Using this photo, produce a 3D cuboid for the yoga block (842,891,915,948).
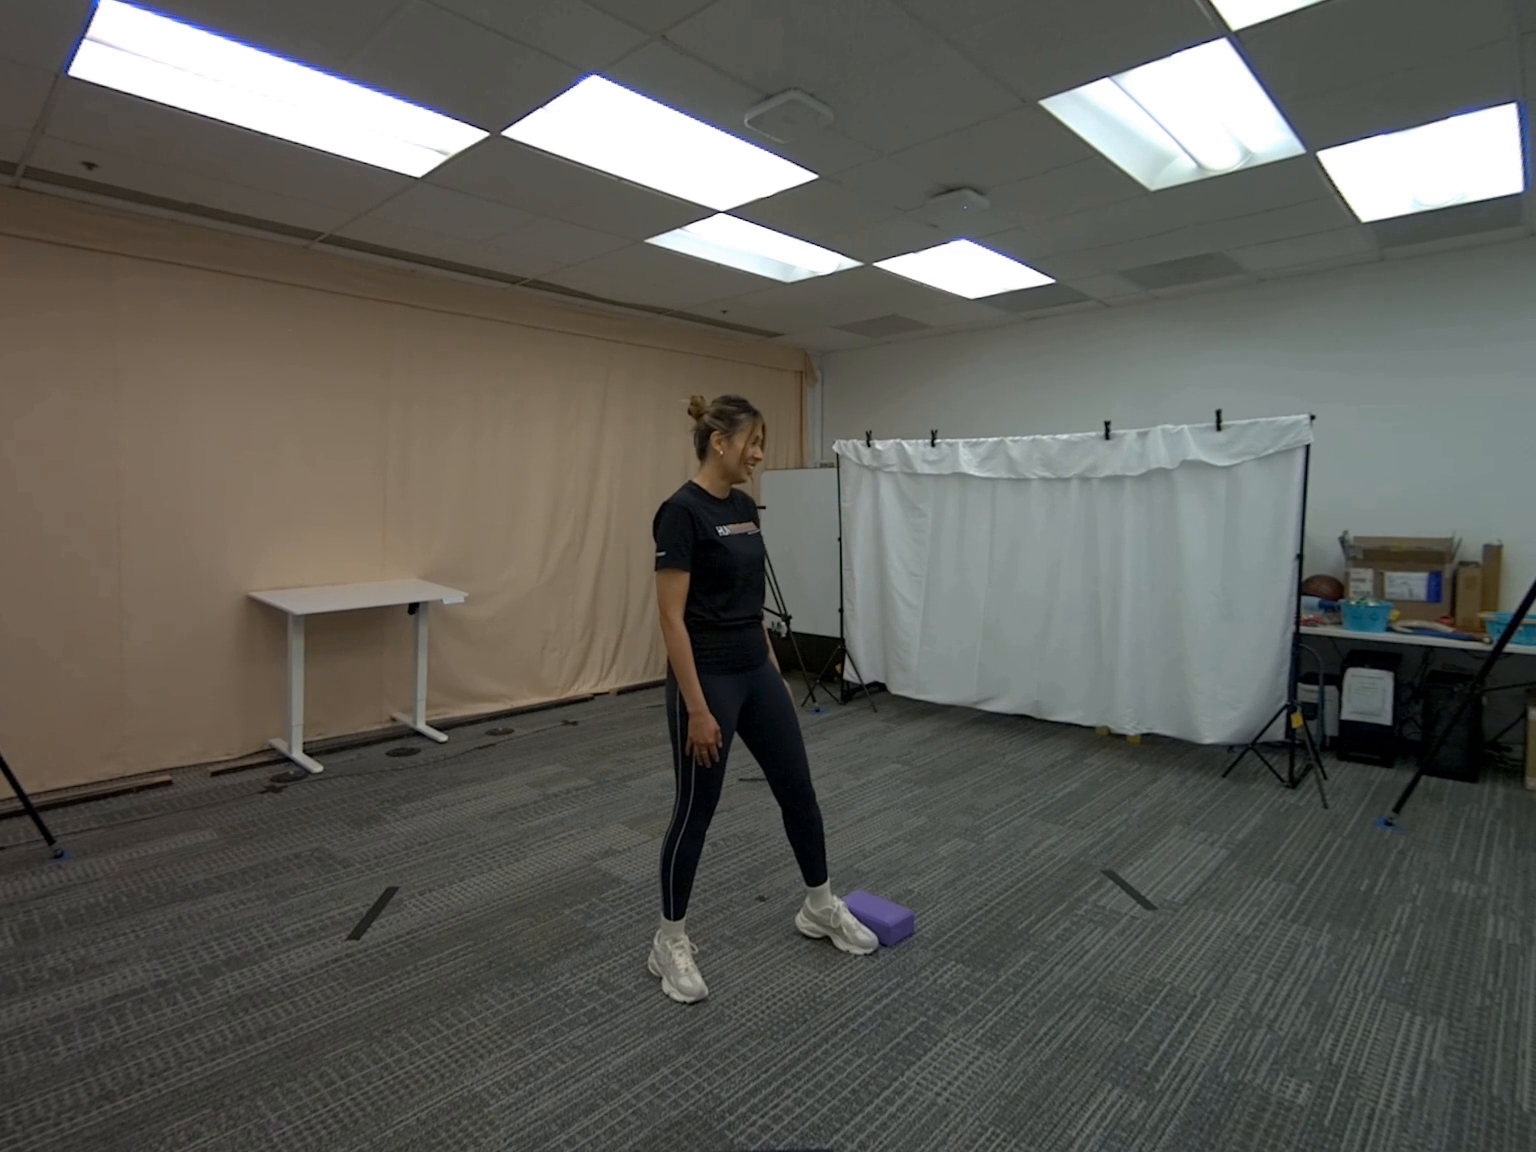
[{"bbox_3d":[0.345,1.120,2.750,0.237,0.076,0.144,4,5,43],"label":"yoga block"}]
